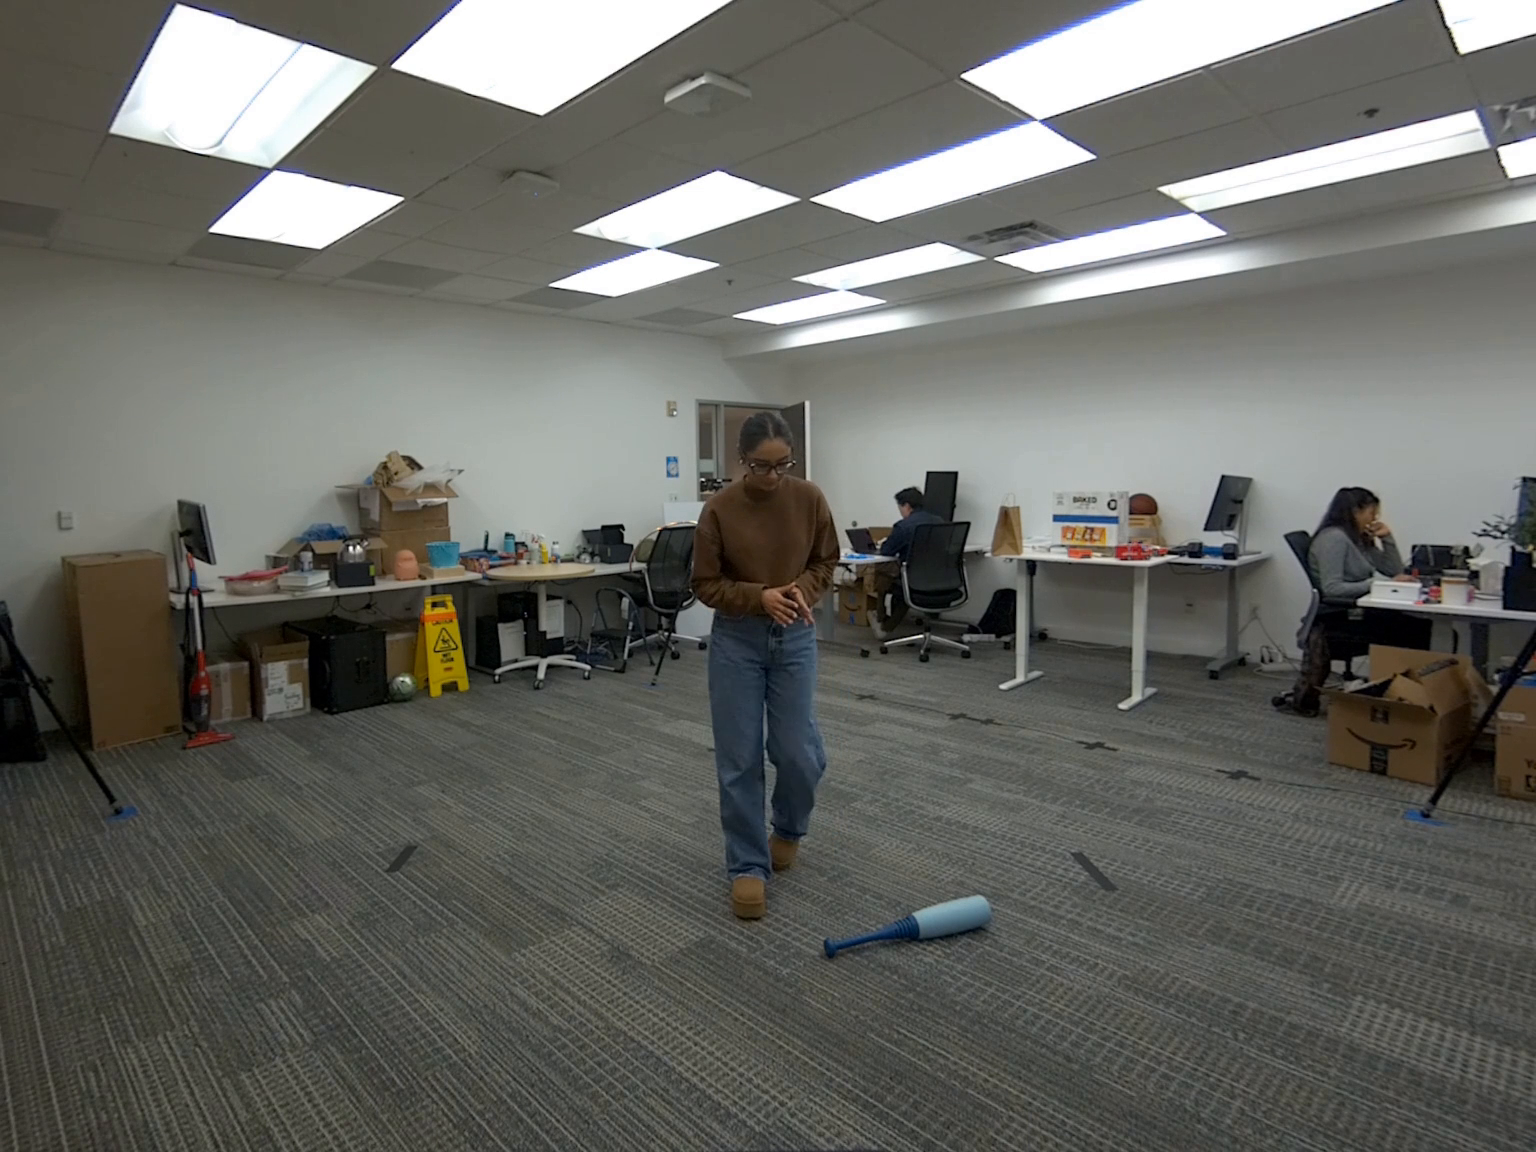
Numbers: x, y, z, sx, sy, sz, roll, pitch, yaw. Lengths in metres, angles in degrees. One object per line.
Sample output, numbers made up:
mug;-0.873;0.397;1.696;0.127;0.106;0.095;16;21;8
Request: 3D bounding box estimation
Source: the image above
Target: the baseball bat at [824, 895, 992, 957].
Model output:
baseball bat;0.428;1.064;2.569;0.535;0.088;0.091;-7;6;-16
